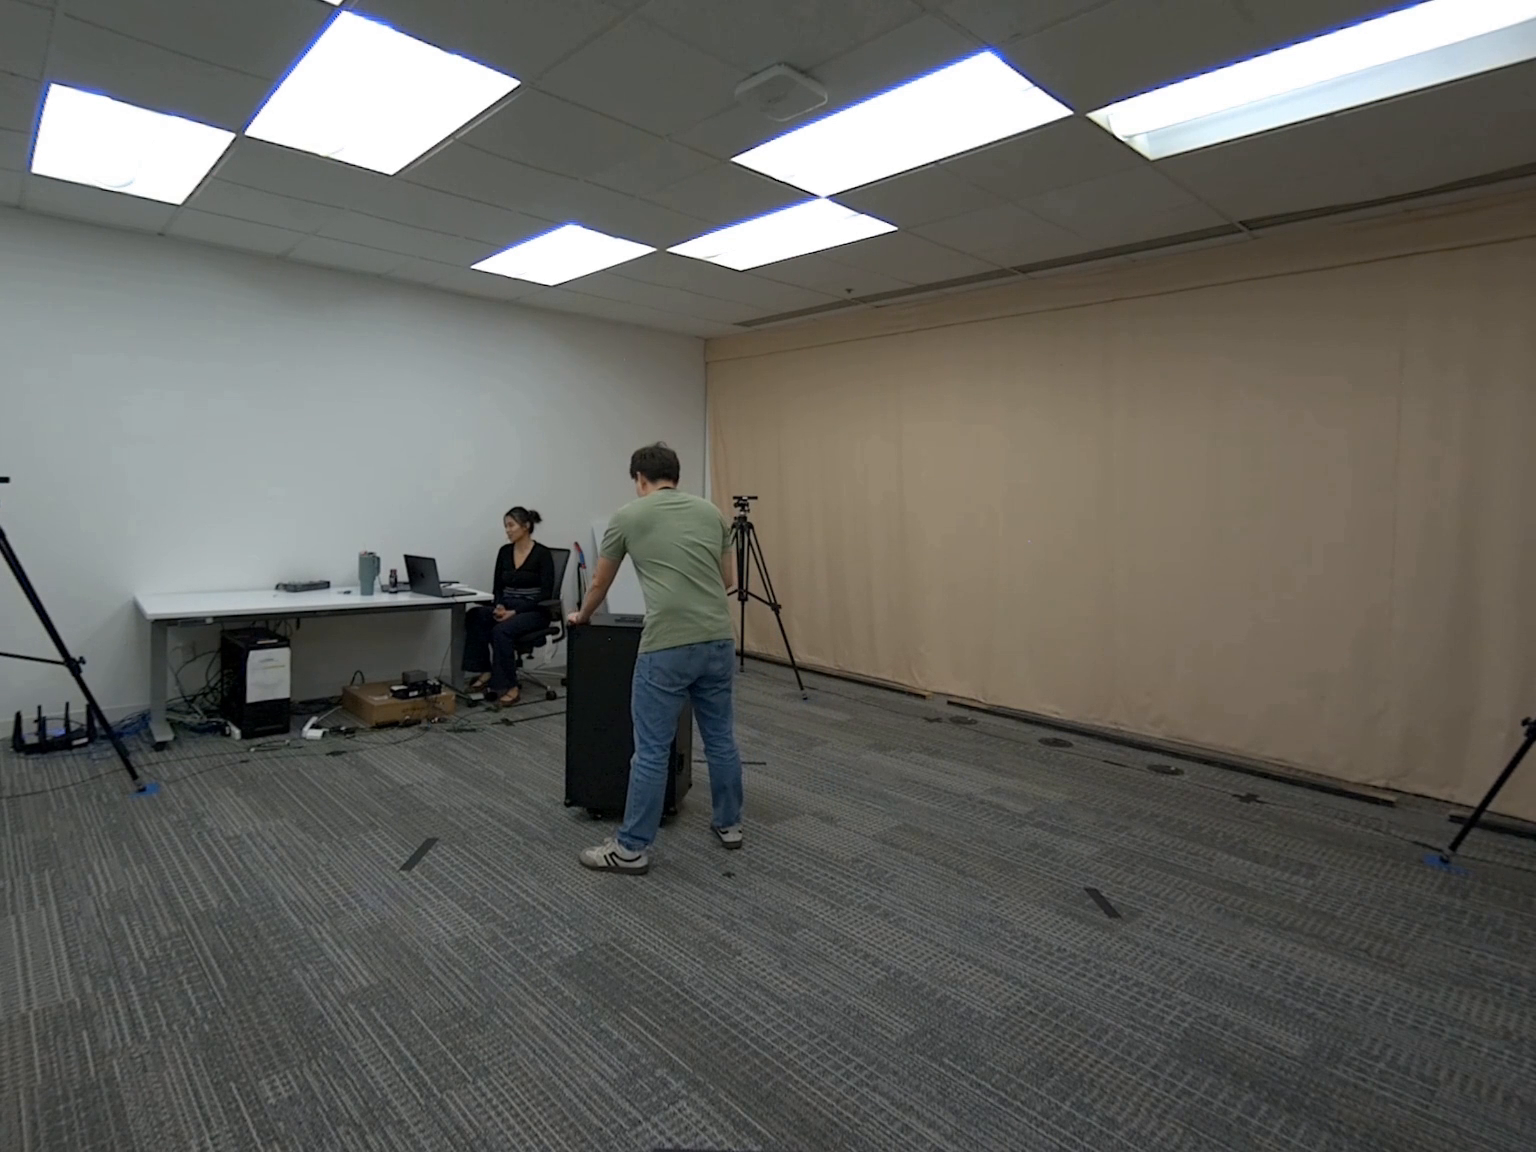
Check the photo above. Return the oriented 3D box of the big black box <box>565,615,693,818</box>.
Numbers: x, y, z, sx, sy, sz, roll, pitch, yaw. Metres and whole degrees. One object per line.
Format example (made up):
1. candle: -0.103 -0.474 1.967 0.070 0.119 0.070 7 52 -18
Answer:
1. big black box: -0.612 0.615 3.696 0.525 0.860 0.394 2 3 9
